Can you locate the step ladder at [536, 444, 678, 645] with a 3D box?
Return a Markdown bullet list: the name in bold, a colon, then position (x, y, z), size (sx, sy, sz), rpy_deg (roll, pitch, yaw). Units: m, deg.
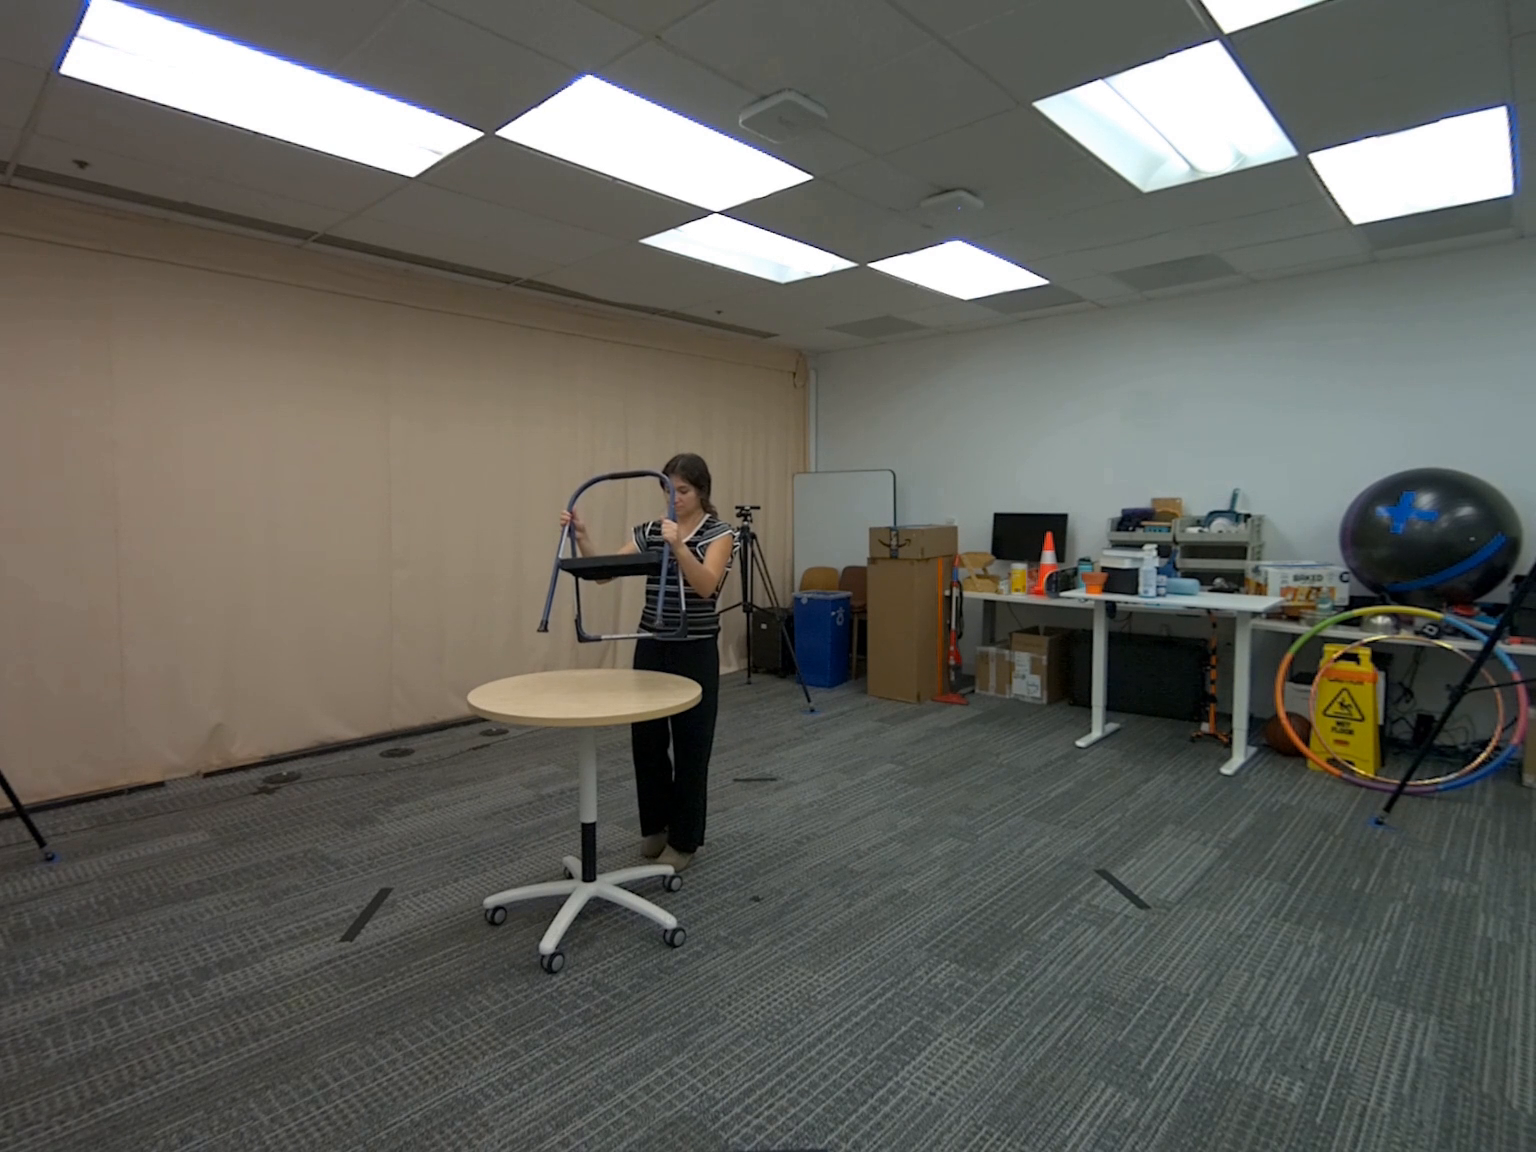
- **step ladder**: position (-0.516, -0.094, 2.930), size (0.436, 0.611, 0.342), rpy_deg (-4, -13, 12)
